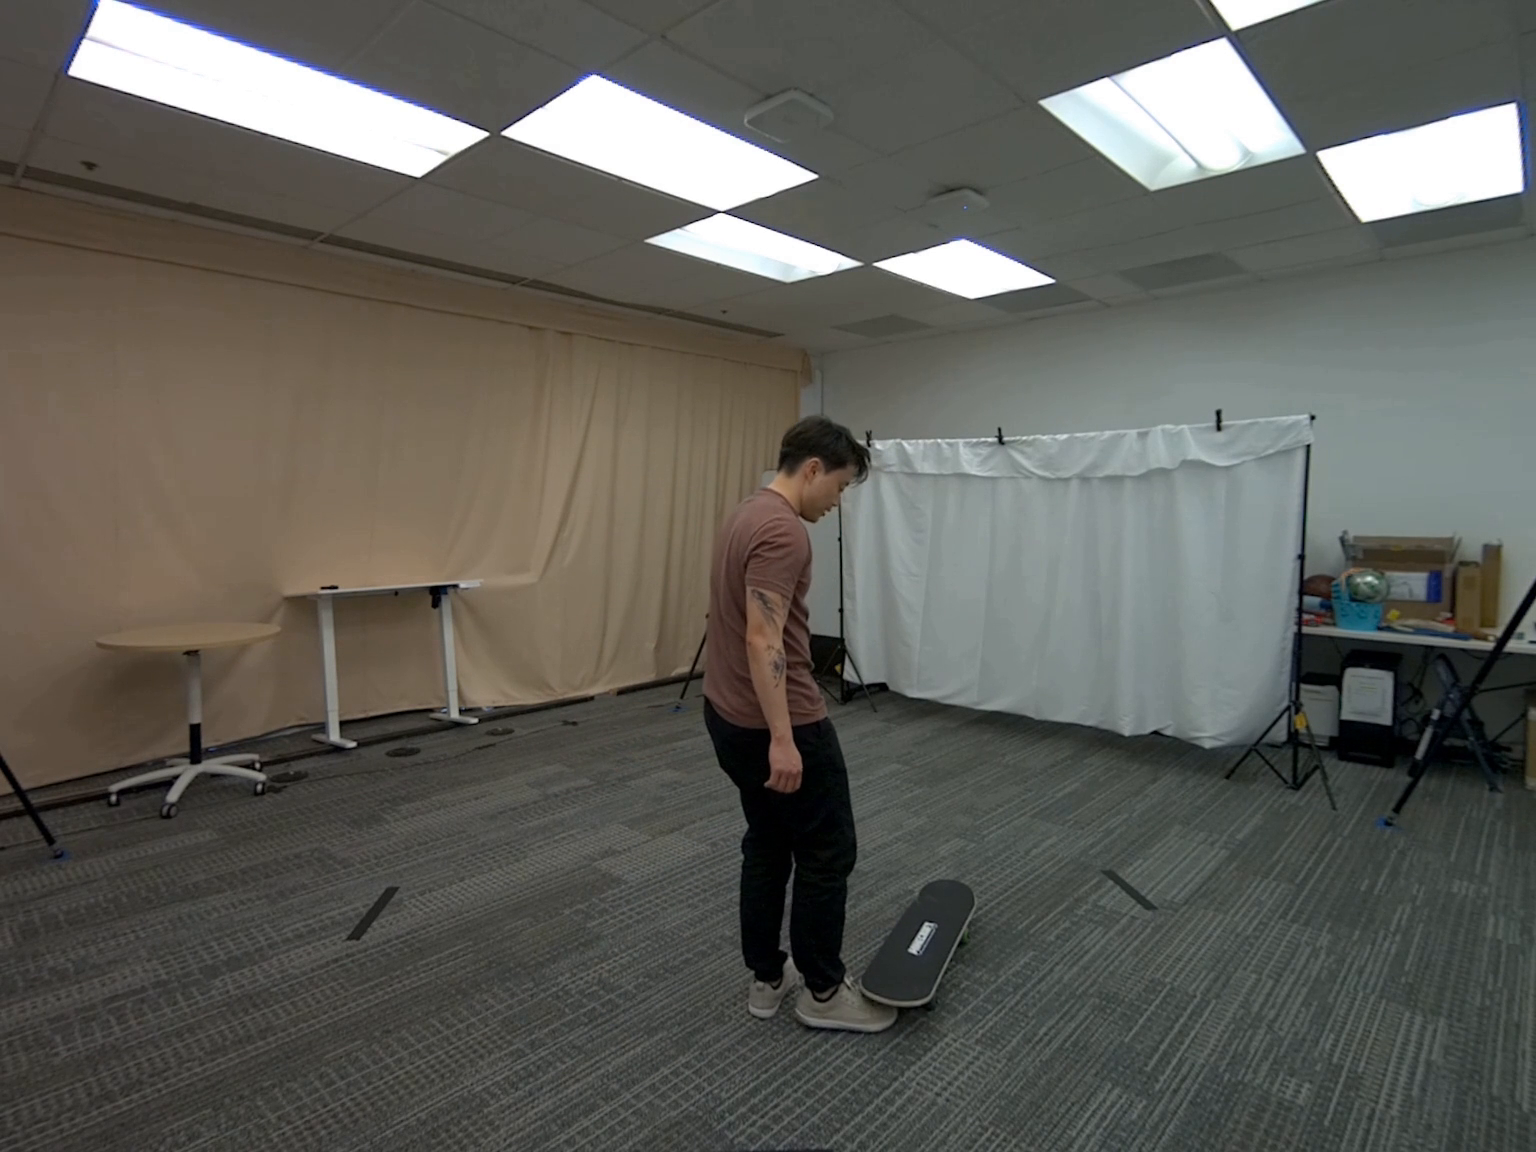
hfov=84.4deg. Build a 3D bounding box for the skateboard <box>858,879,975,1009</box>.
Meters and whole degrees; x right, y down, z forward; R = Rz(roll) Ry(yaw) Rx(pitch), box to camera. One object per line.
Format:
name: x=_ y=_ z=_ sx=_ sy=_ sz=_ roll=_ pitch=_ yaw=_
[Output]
skateboard: x=0.475 y=1.125 z=2.538 sx=0.198 sy=0.110 sz=0.767 roll=1 pitch=5 yaw=26
